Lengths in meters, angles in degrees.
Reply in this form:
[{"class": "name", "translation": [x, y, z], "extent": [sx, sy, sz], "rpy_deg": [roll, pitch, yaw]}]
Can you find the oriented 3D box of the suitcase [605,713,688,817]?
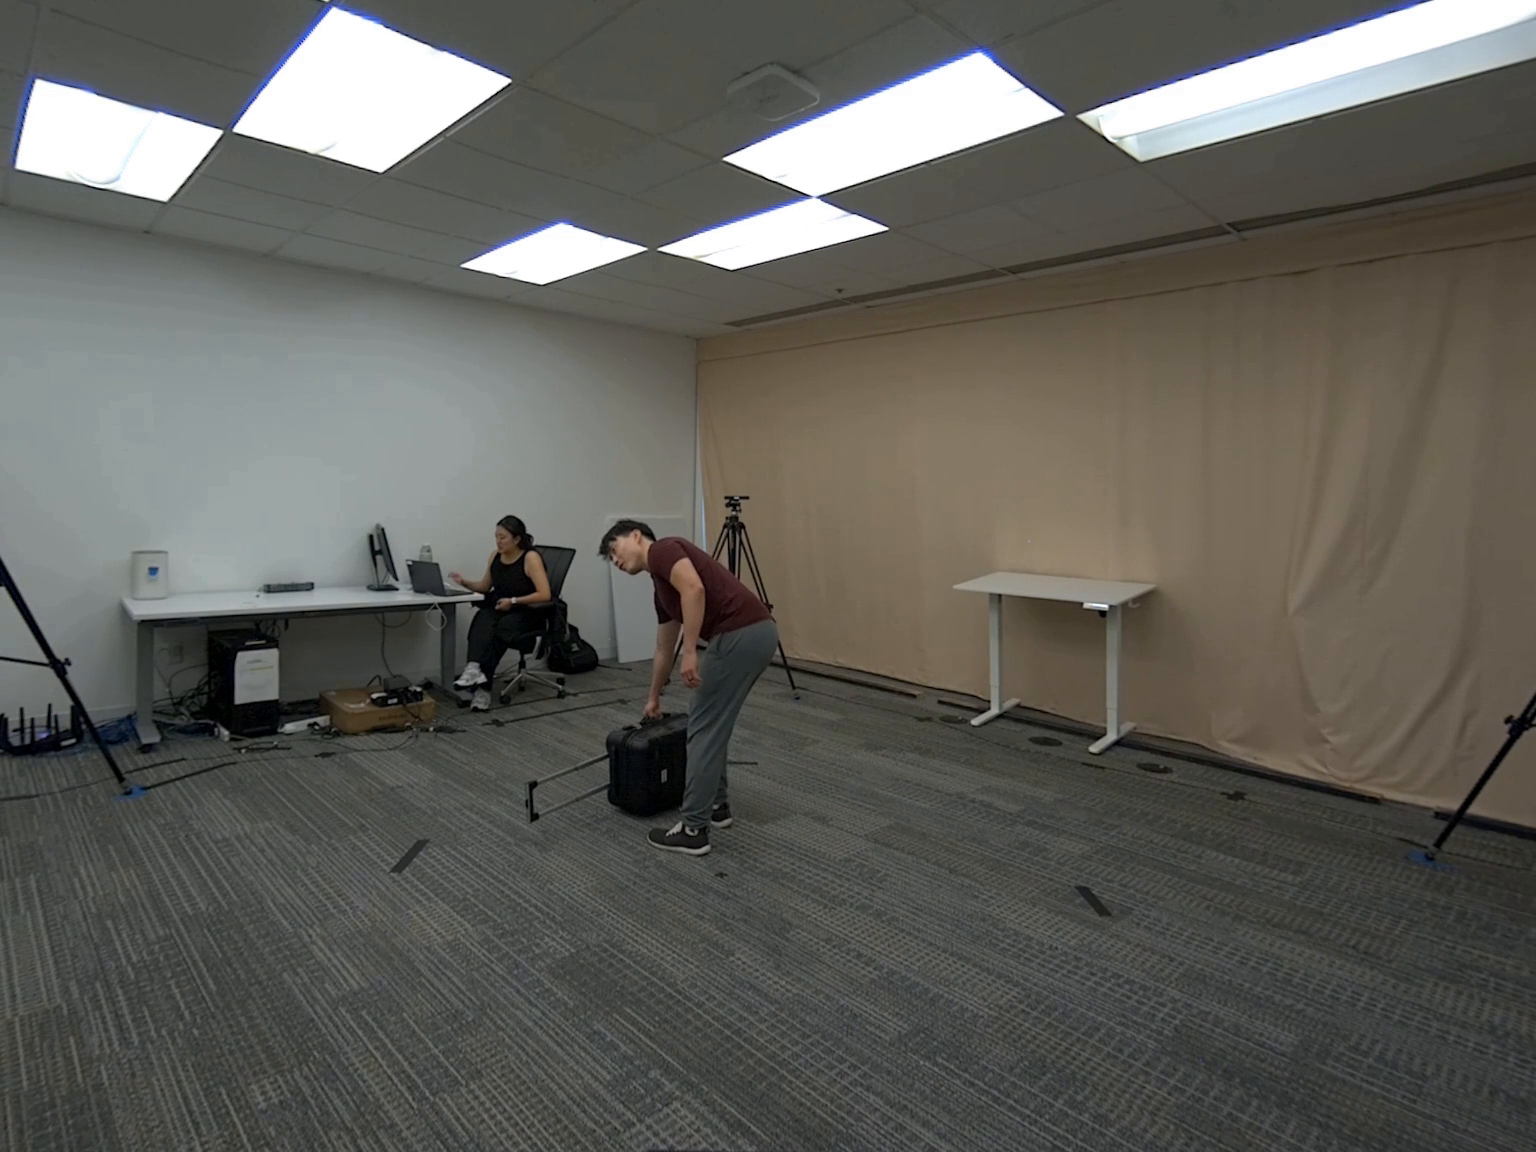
[{"class": "suitcase", "translation": [-0.604, 0.854, 3.669], "extent": [0.263, 0.383, 0.959], "rpy_deg": [1, 4, 31]}]
